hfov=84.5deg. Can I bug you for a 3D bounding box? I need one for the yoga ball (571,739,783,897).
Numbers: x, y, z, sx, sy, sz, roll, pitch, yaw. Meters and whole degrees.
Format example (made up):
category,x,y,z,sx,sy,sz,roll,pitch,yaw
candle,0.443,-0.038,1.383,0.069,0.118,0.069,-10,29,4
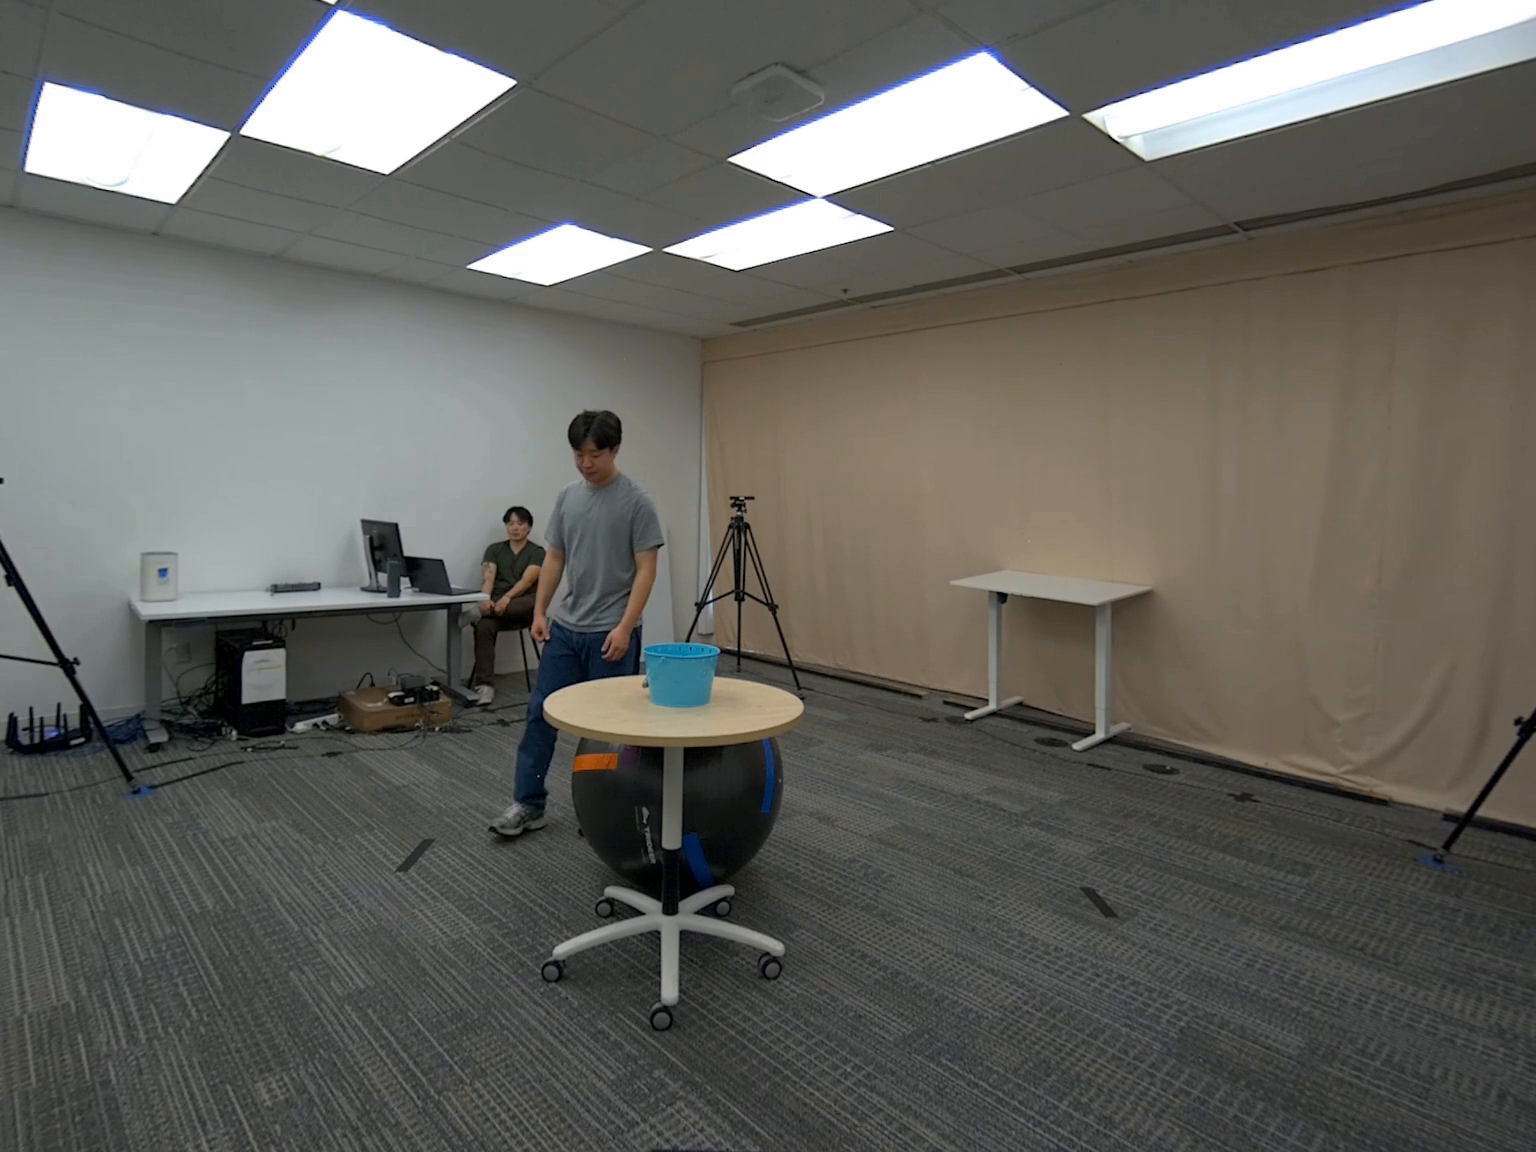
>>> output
category,x,y,z,sx,sy,sz,roll,pitch,yaw
yoga ball,-0.333,0.737,3.033,0.757,0.756,0.761,1,4,-1
